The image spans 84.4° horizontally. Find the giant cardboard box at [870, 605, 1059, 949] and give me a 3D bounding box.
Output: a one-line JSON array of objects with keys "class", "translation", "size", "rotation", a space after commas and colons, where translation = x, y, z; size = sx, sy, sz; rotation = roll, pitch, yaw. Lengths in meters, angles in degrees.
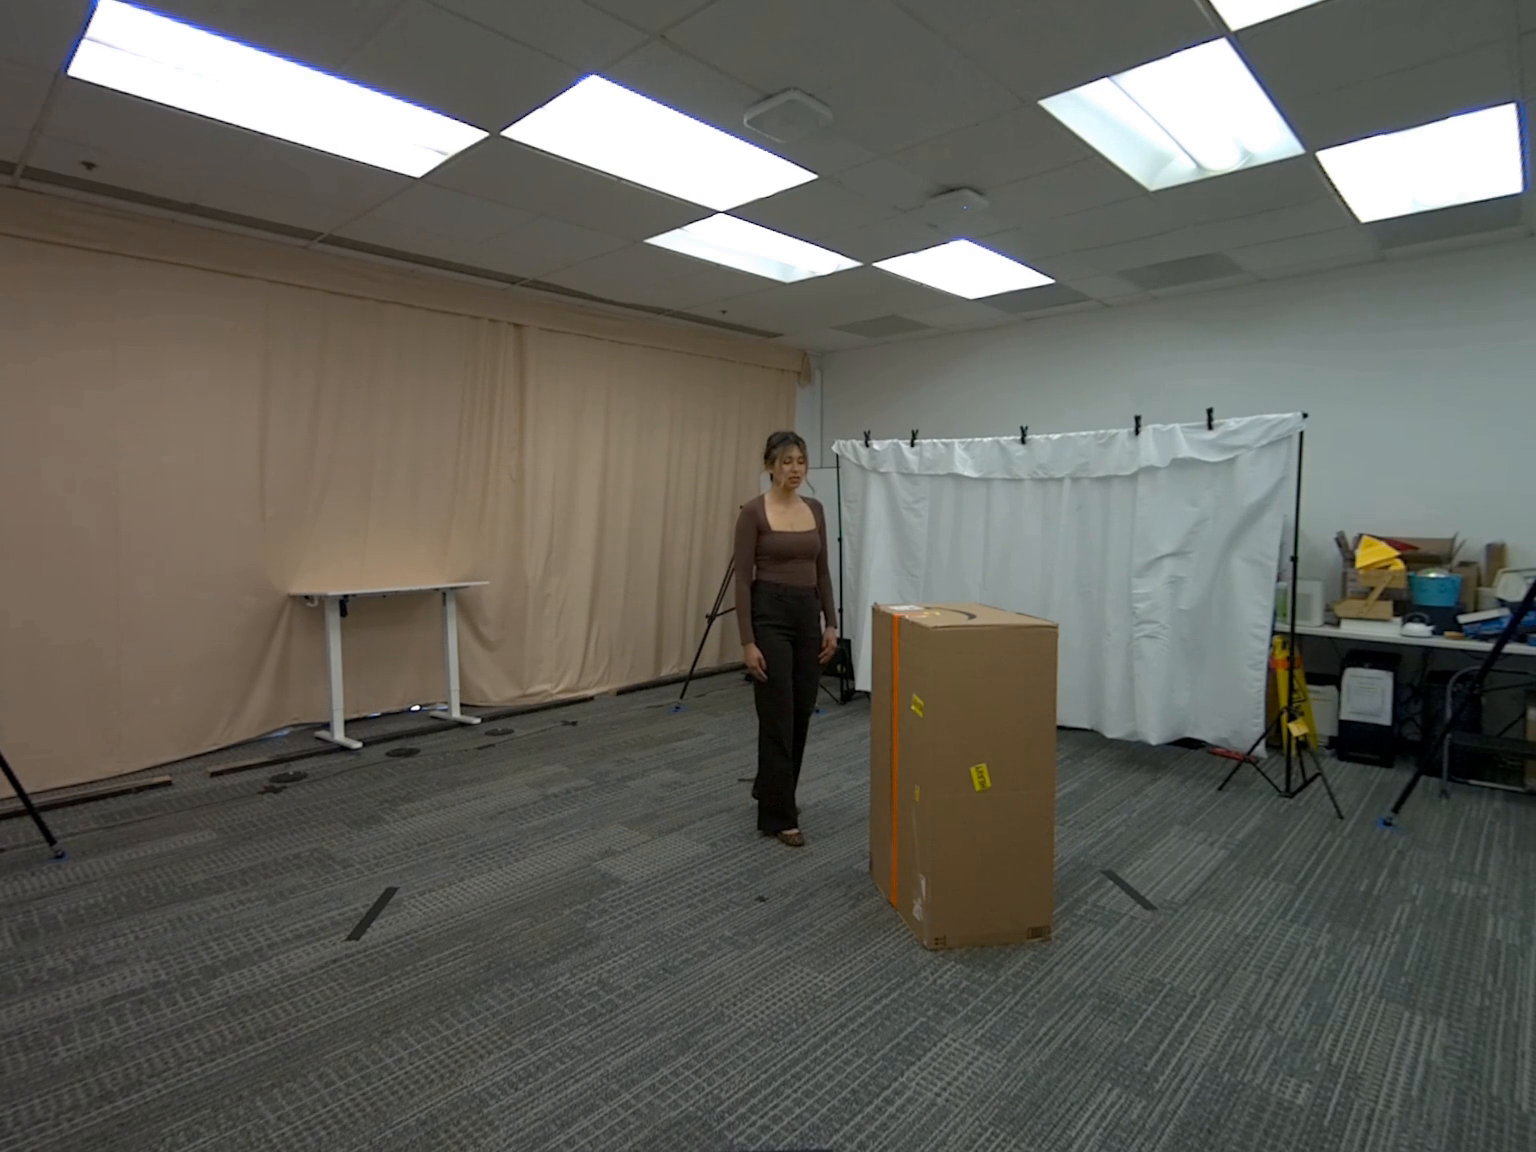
[{"class": "giant cardboard box", "translation": [0.653, 0.638, 2.913], "size": [0.442, 1.025, 0.592], "rotation": [0, 3, -12]}]
